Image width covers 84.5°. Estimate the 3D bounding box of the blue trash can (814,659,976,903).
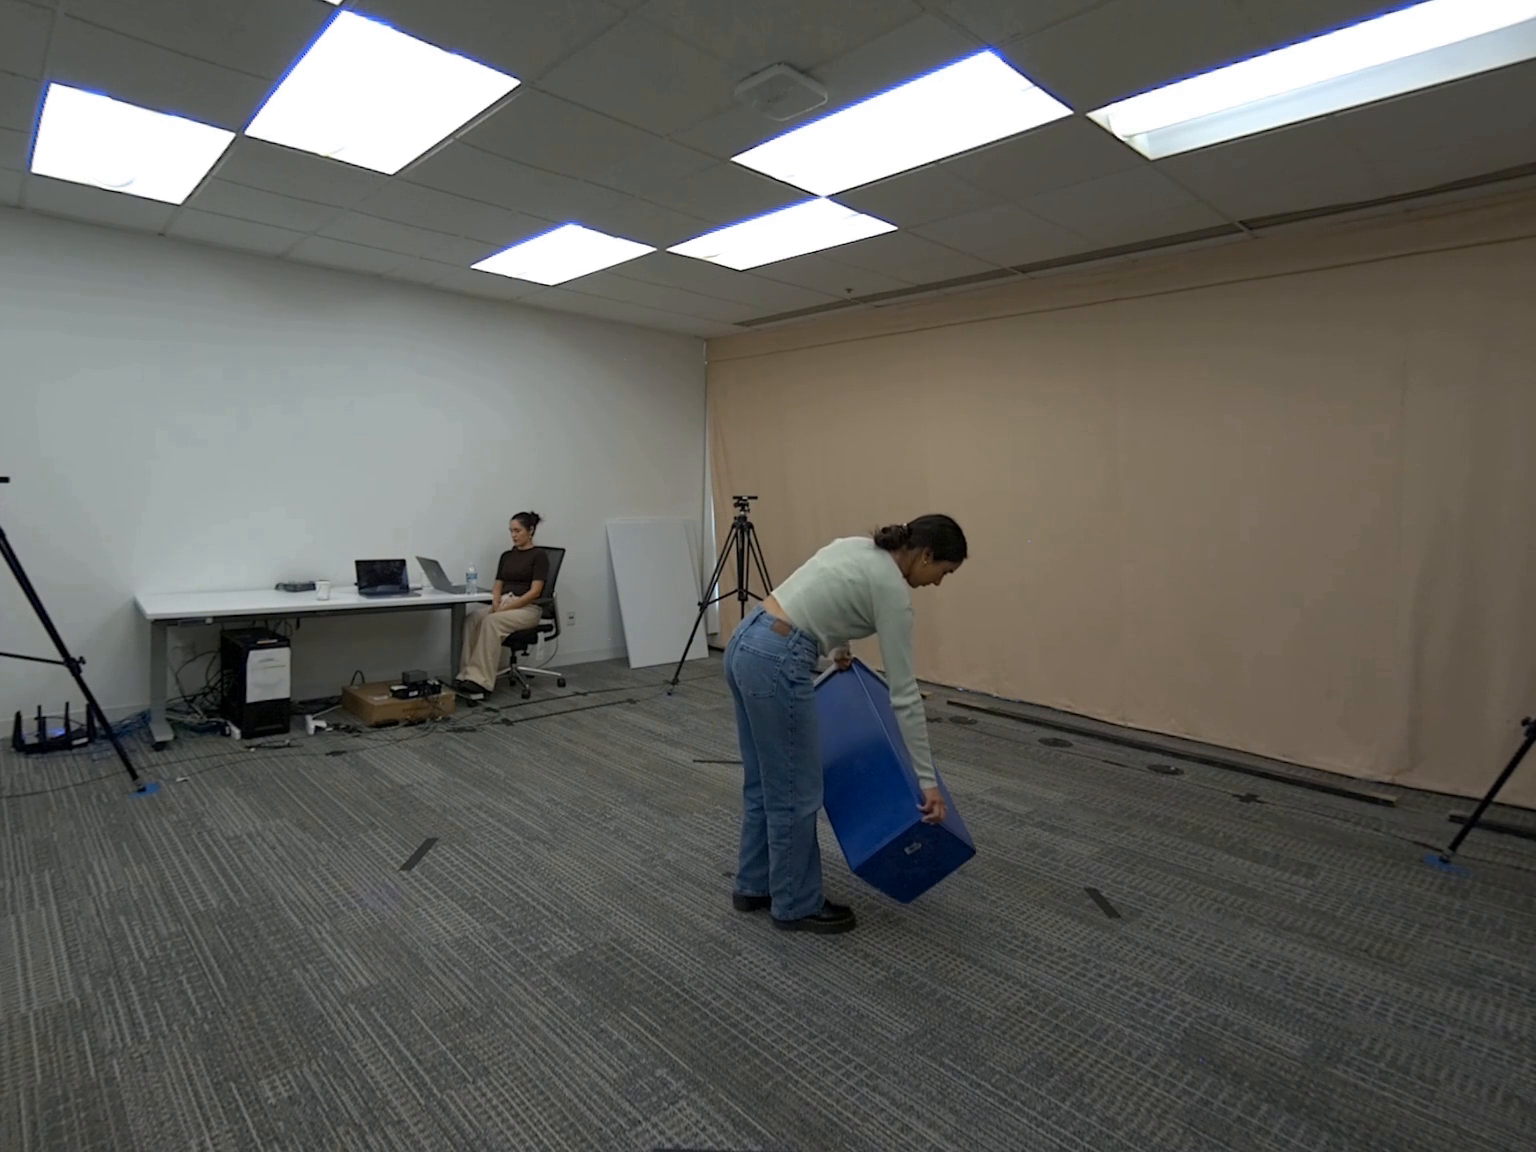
[{"bbox_3d":[0.367,0.676,2.871,0.363,0.378,0.733,40,15,-32],"label":"blue trash can"}]
